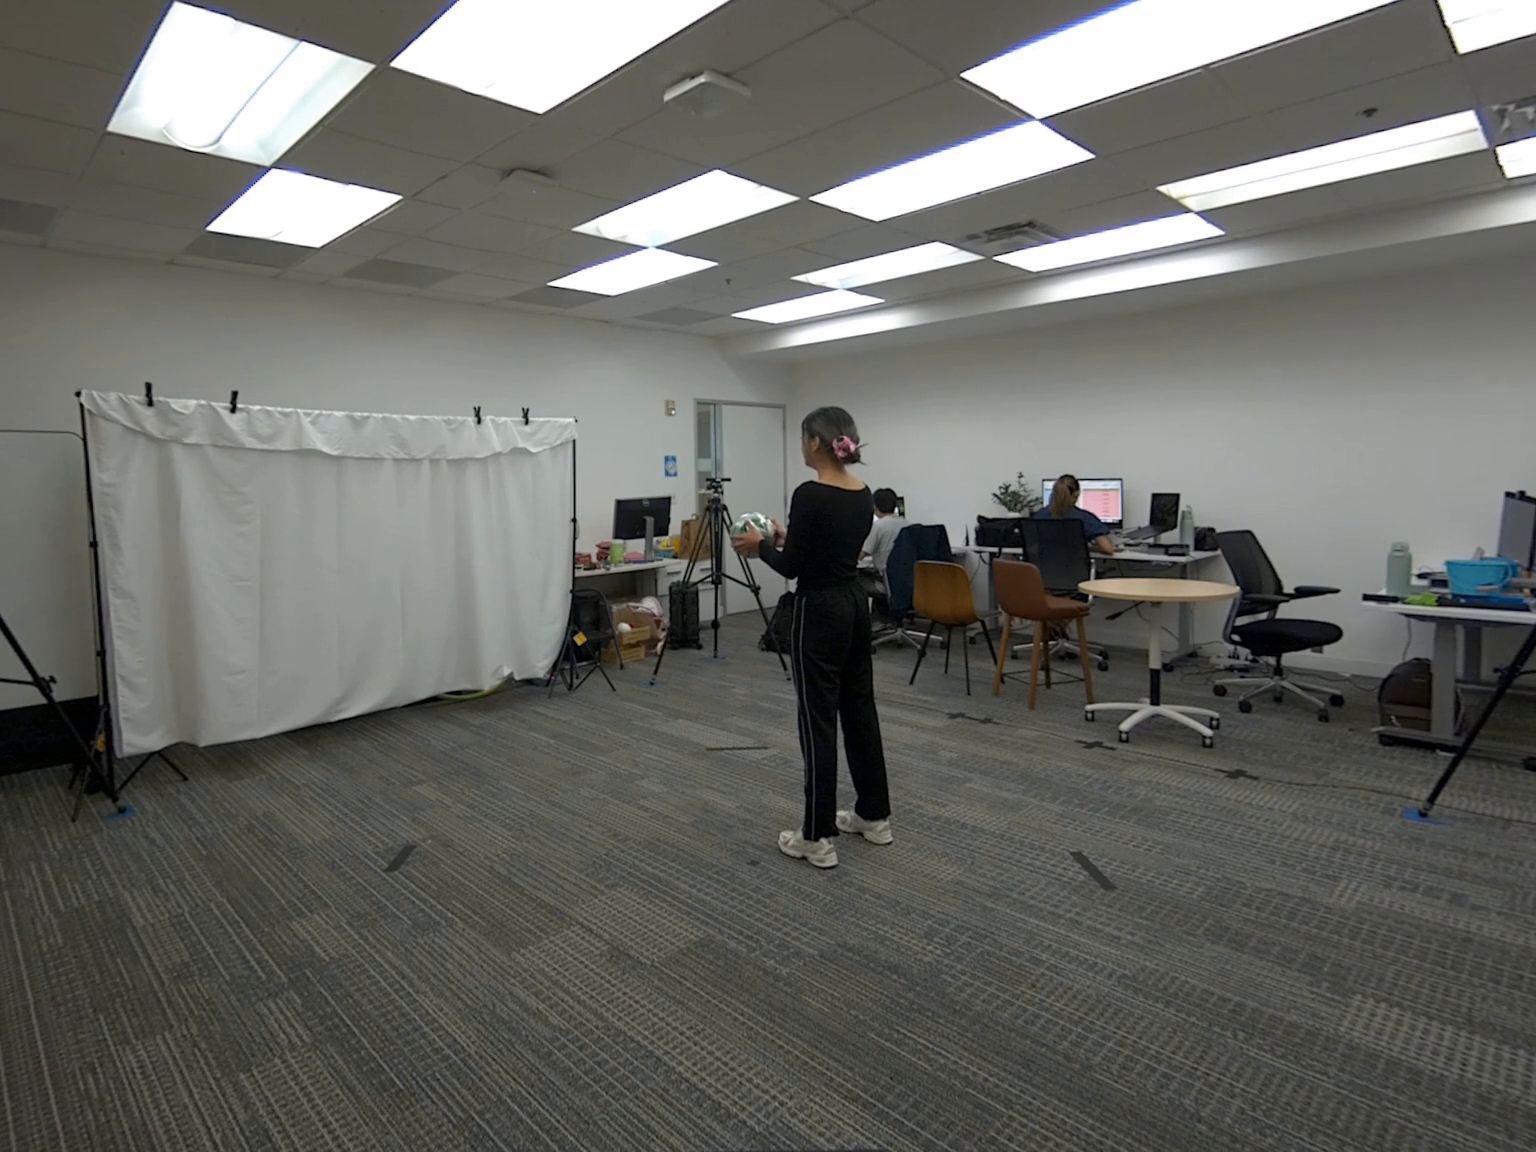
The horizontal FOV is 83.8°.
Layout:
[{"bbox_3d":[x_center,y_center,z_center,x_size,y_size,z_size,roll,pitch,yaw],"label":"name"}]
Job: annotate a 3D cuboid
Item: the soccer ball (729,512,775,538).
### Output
[{"bbox_3d":[-0.039,-0.164,3.429,0.187,0.187,0.188,-1,5,-2],"label":"soccer ball"}]
